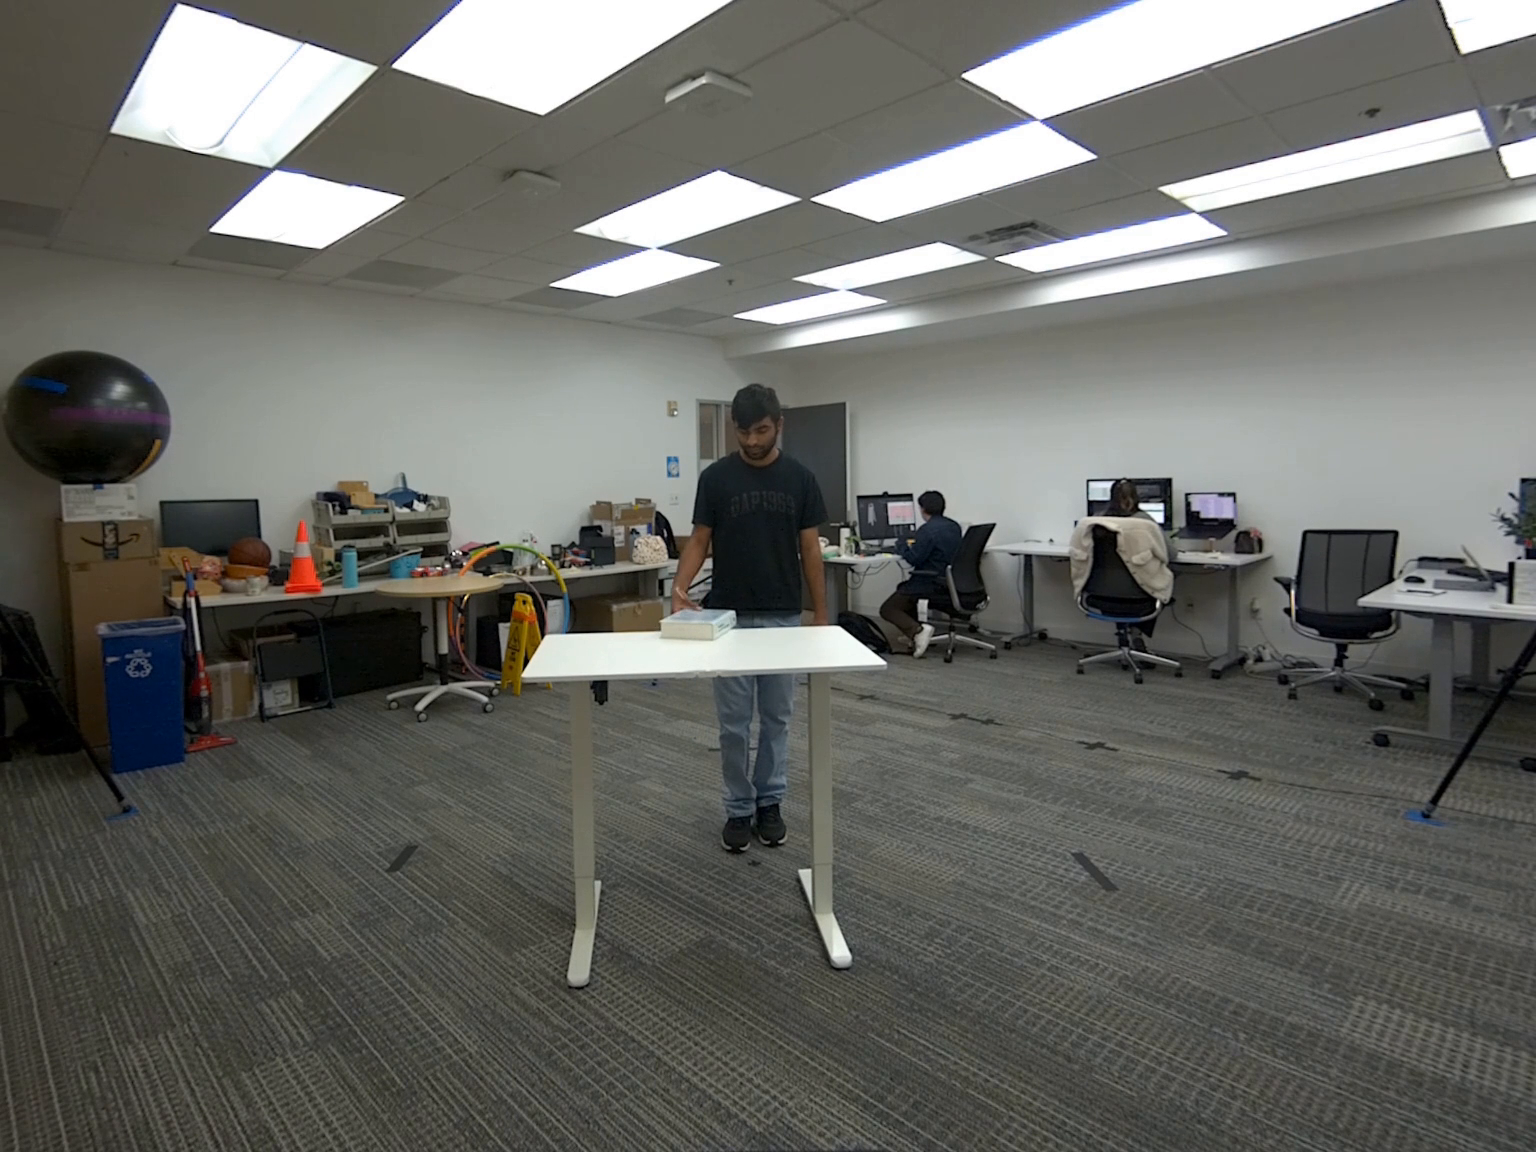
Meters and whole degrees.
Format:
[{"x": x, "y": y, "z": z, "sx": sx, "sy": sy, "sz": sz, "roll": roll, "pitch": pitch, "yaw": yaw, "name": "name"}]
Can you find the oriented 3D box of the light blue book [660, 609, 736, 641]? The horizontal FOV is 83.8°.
[{"x": -0.233, "y": 0.166, "z": 2.876, "sx": 0.194, "sy": 0.059, "sz": 0.258, "roll": 0, "pitch": 6, "yaw": 14, "name": "light blue book"}]
